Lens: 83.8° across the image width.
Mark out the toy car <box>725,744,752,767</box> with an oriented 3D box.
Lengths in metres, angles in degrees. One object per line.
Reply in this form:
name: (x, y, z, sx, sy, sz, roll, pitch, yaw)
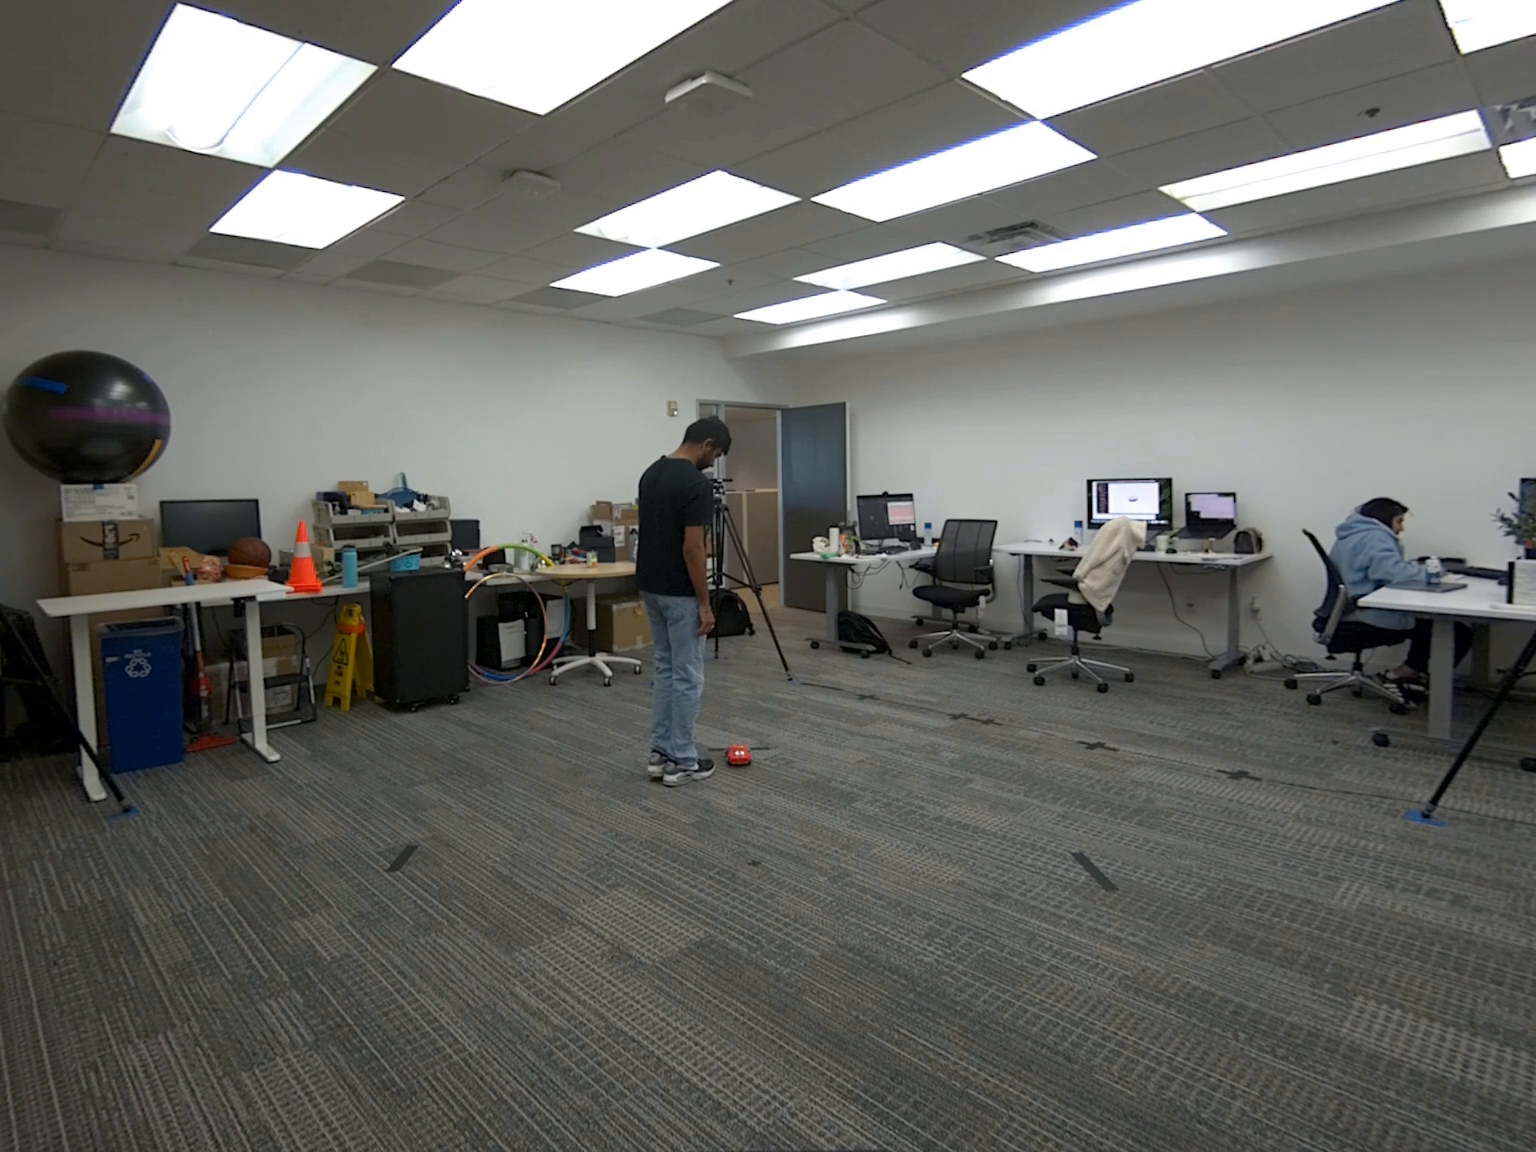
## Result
toy car: (-0.144, 0.889, 4.251, 0.130, 0.083, 0.254, 0, -4, -4)
